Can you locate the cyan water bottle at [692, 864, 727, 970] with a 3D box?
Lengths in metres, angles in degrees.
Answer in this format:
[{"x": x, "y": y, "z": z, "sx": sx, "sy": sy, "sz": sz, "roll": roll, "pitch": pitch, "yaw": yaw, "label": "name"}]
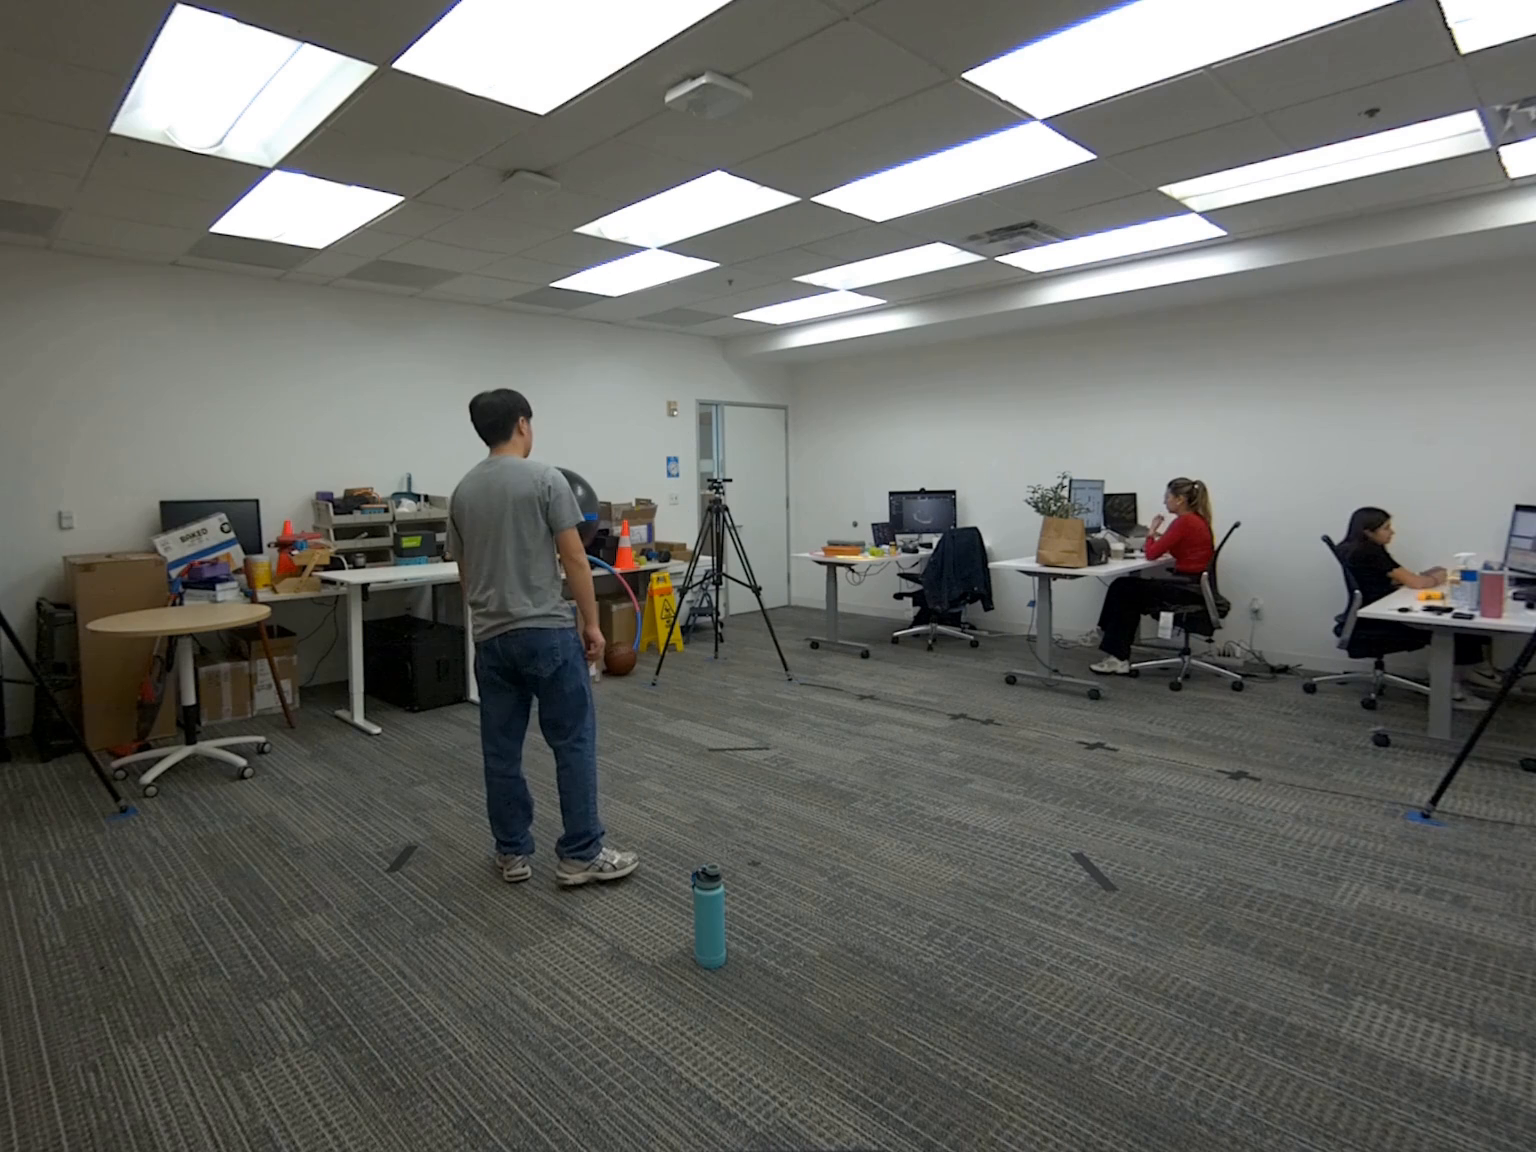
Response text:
[{"x": -0.166, "y": 0.984, "z": 2.476, "sx": 0.092, "sy": 0.283, "sz": 0.092, "roll": -3, "pitch": 3, "yaw": -1, "label": "cyan water bottle"}]
